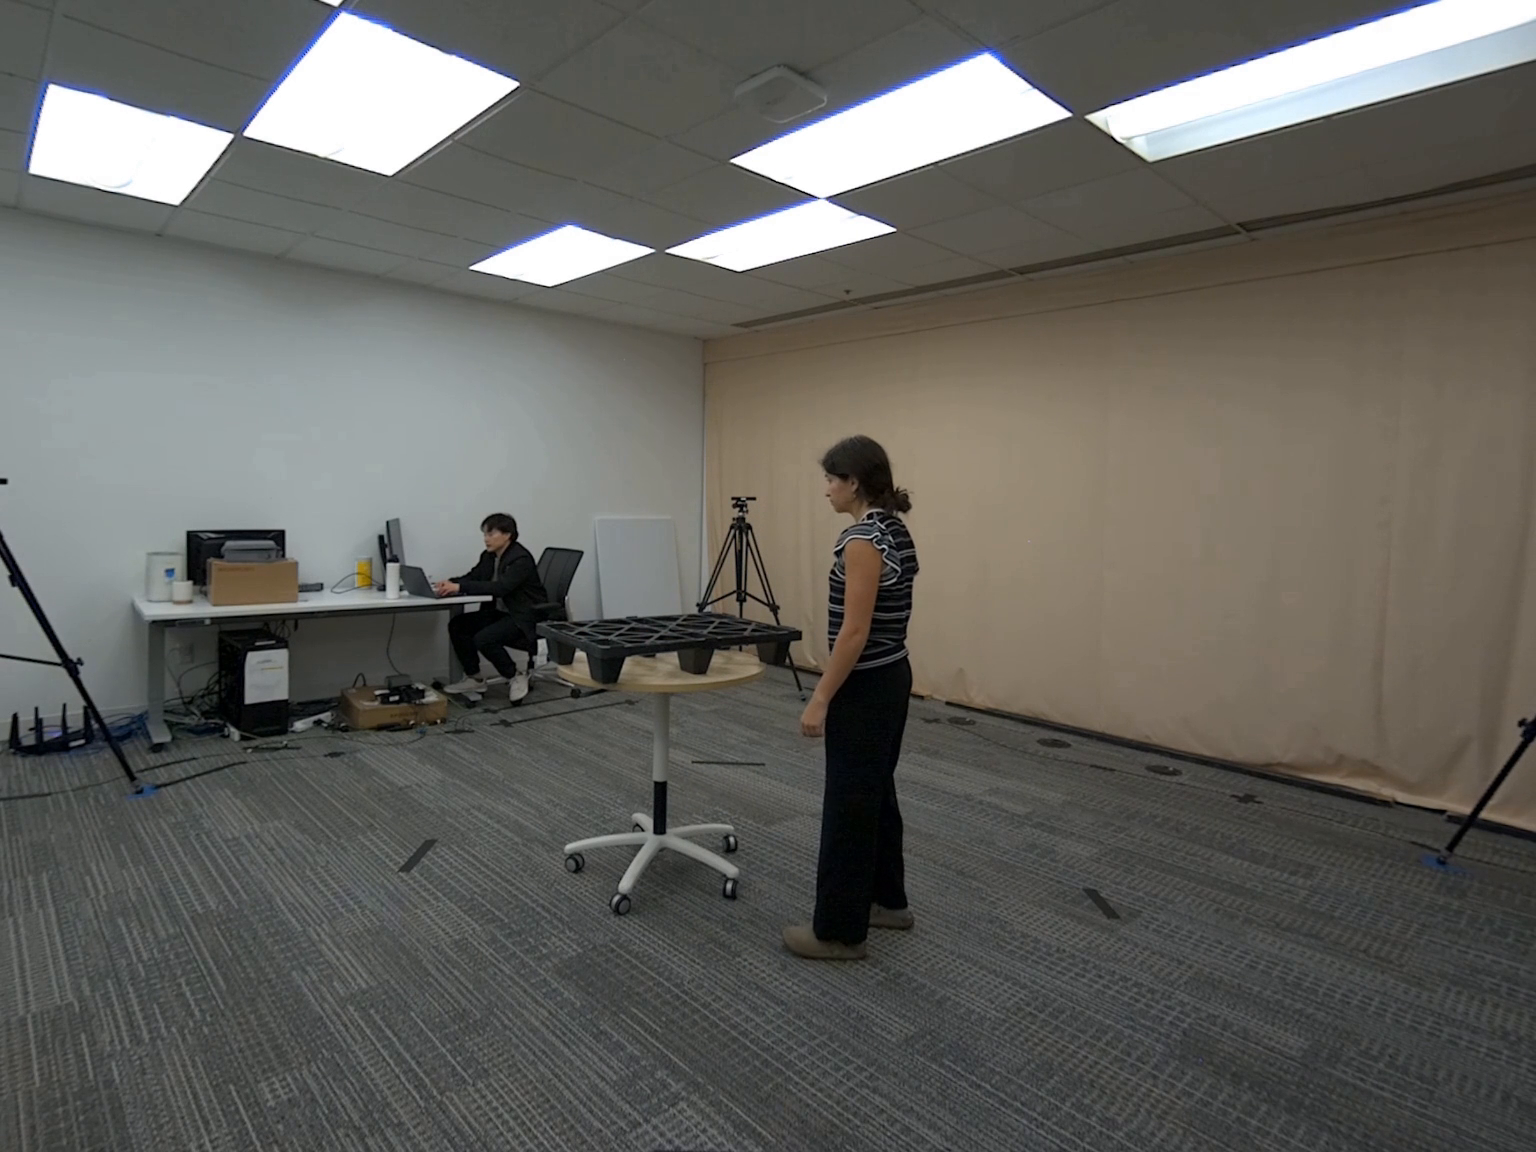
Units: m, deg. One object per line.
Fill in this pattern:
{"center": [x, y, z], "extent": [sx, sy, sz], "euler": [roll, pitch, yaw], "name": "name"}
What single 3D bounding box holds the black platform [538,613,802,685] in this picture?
{"center": [-0.378, 0.256, 3.086], "extent": [0.788, 0.143, 0.620], "euler": [-2, 5, -34], "name": "black platform"}
